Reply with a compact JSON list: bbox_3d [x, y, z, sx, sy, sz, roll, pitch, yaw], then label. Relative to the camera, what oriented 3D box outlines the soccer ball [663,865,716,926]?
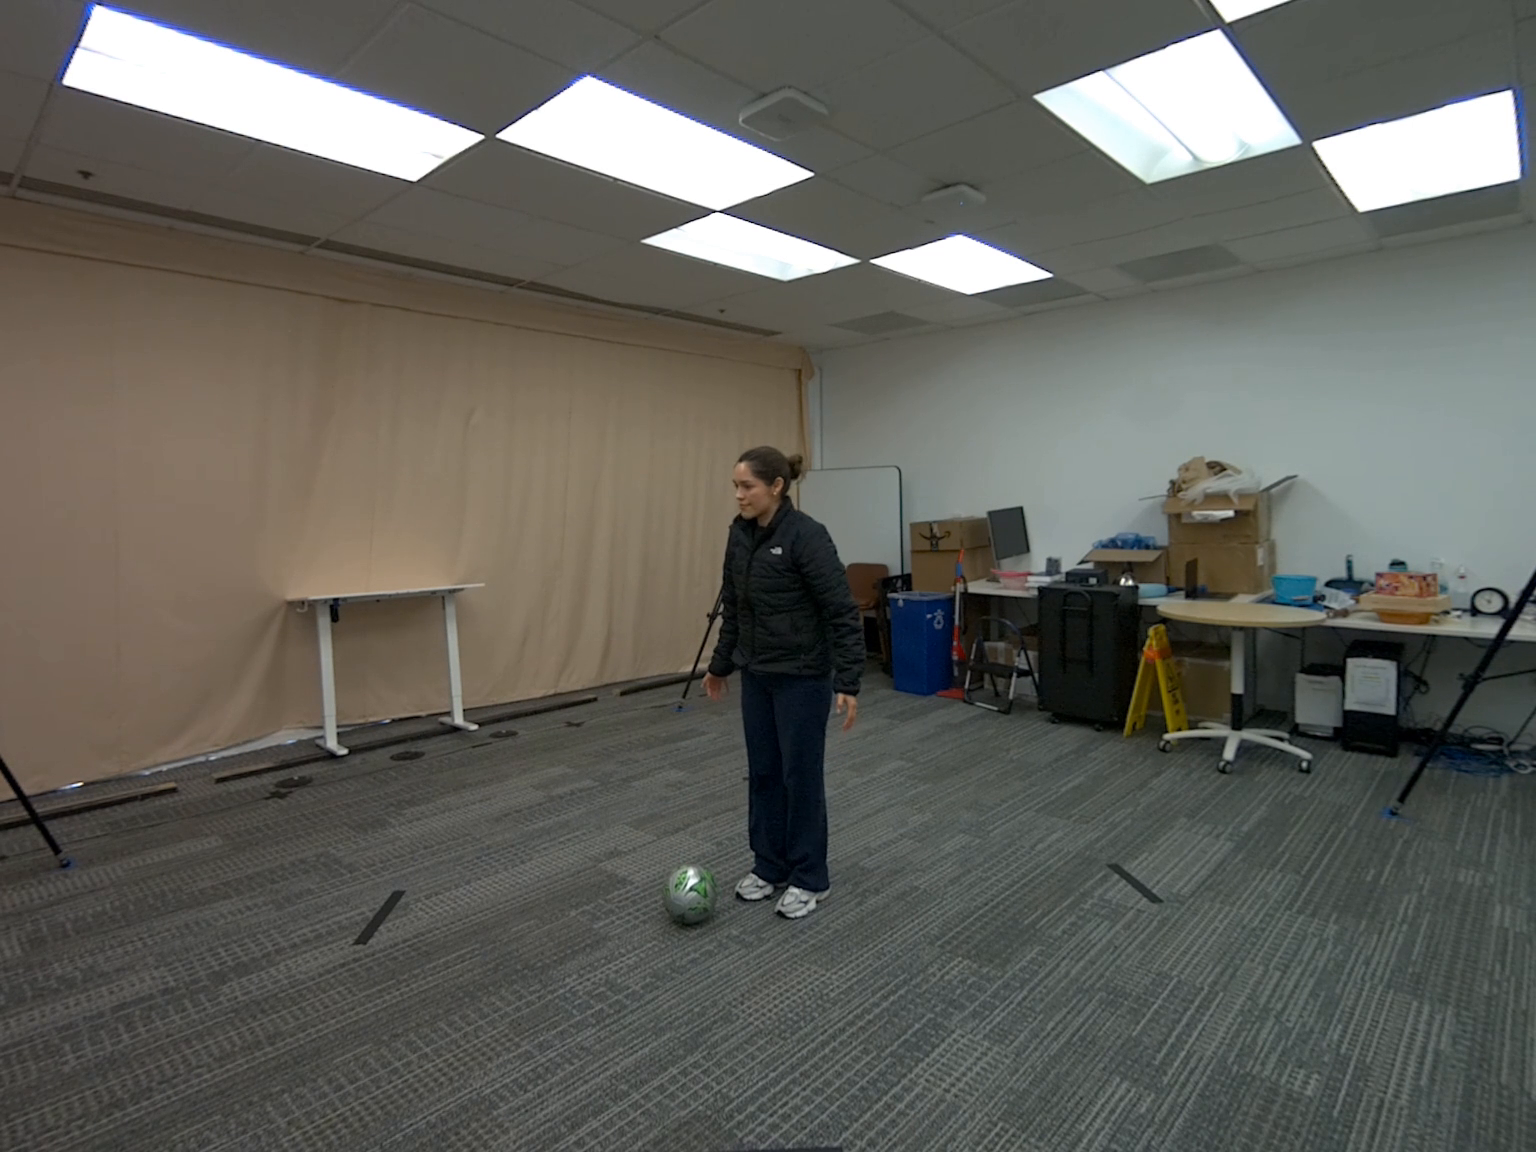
[{"bbox_3d":[-0.255,1.062,2.823,0.187,0.187,0.188,-1,4,-2],"label":"soccer ball"}]
